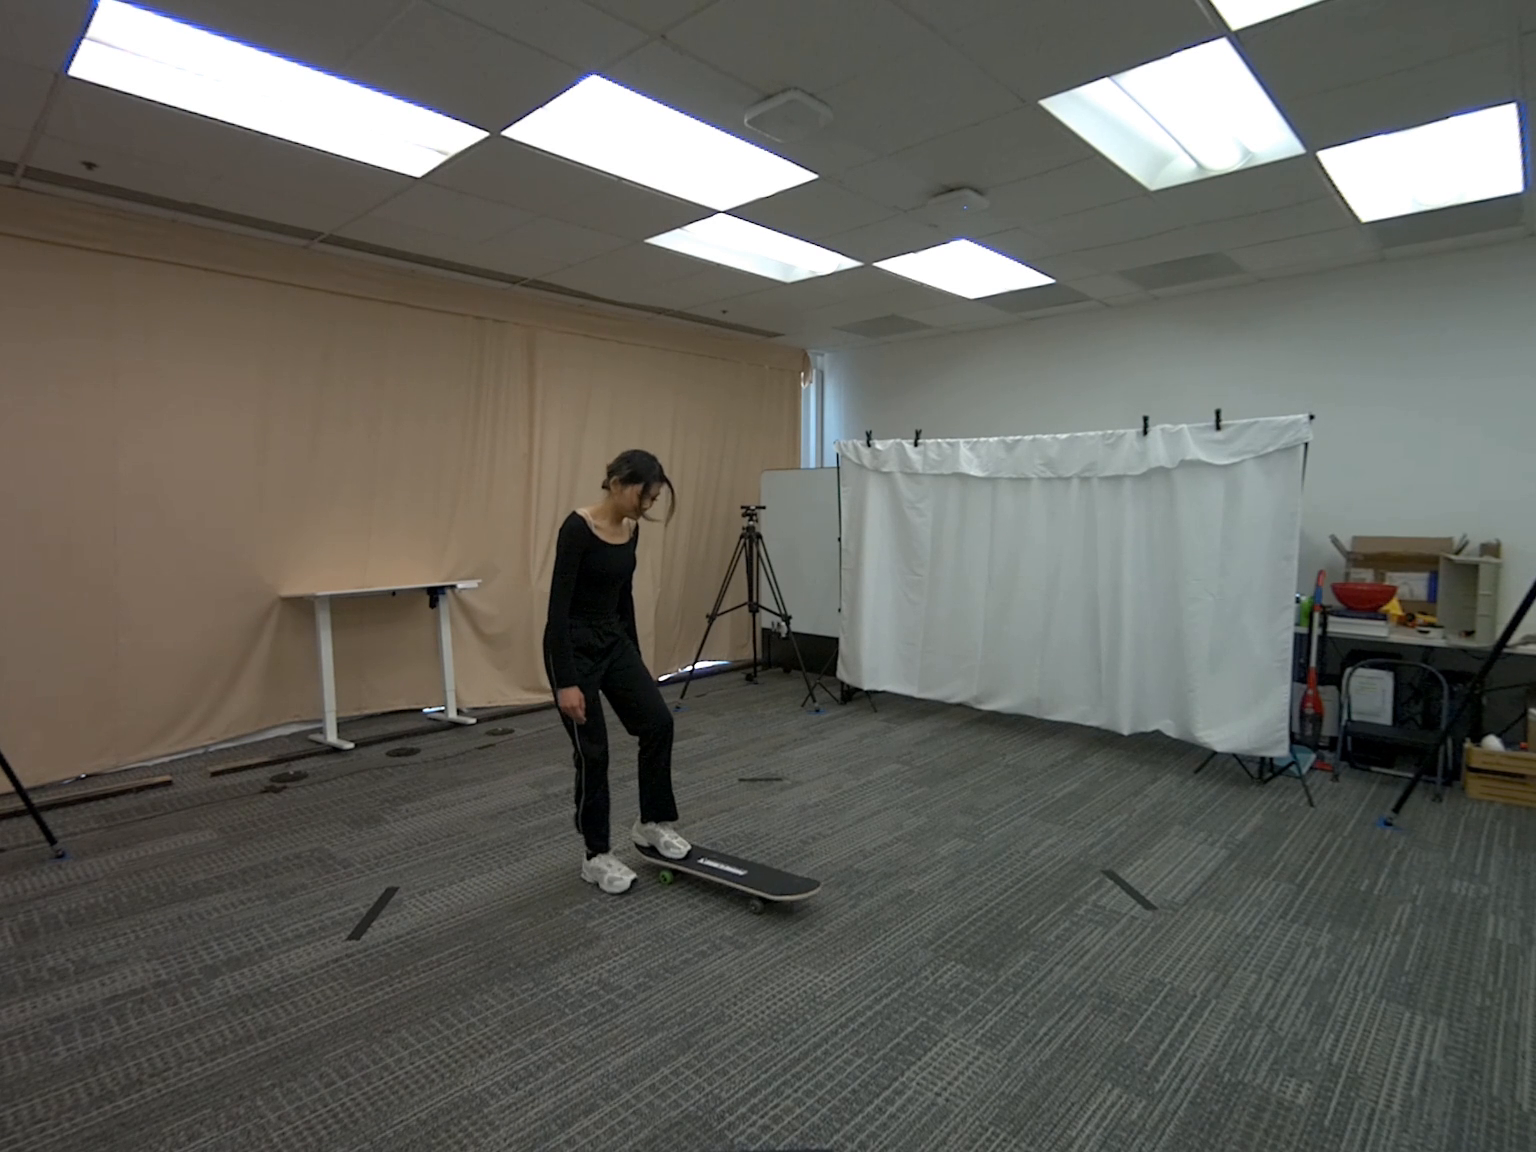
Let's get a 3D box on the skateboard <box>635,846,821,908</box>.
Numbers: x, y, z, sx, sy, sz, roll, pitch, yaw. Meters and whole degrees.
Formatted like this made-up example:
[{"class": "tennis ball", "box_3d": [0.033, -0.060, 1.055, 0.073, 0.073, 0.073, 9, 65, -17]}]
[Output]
[{"class": "skateboard", "box_3d": [-0.157, 1.078, 3.049, 0.809, 0.110, 0.188, 0, 4, 34]}]
